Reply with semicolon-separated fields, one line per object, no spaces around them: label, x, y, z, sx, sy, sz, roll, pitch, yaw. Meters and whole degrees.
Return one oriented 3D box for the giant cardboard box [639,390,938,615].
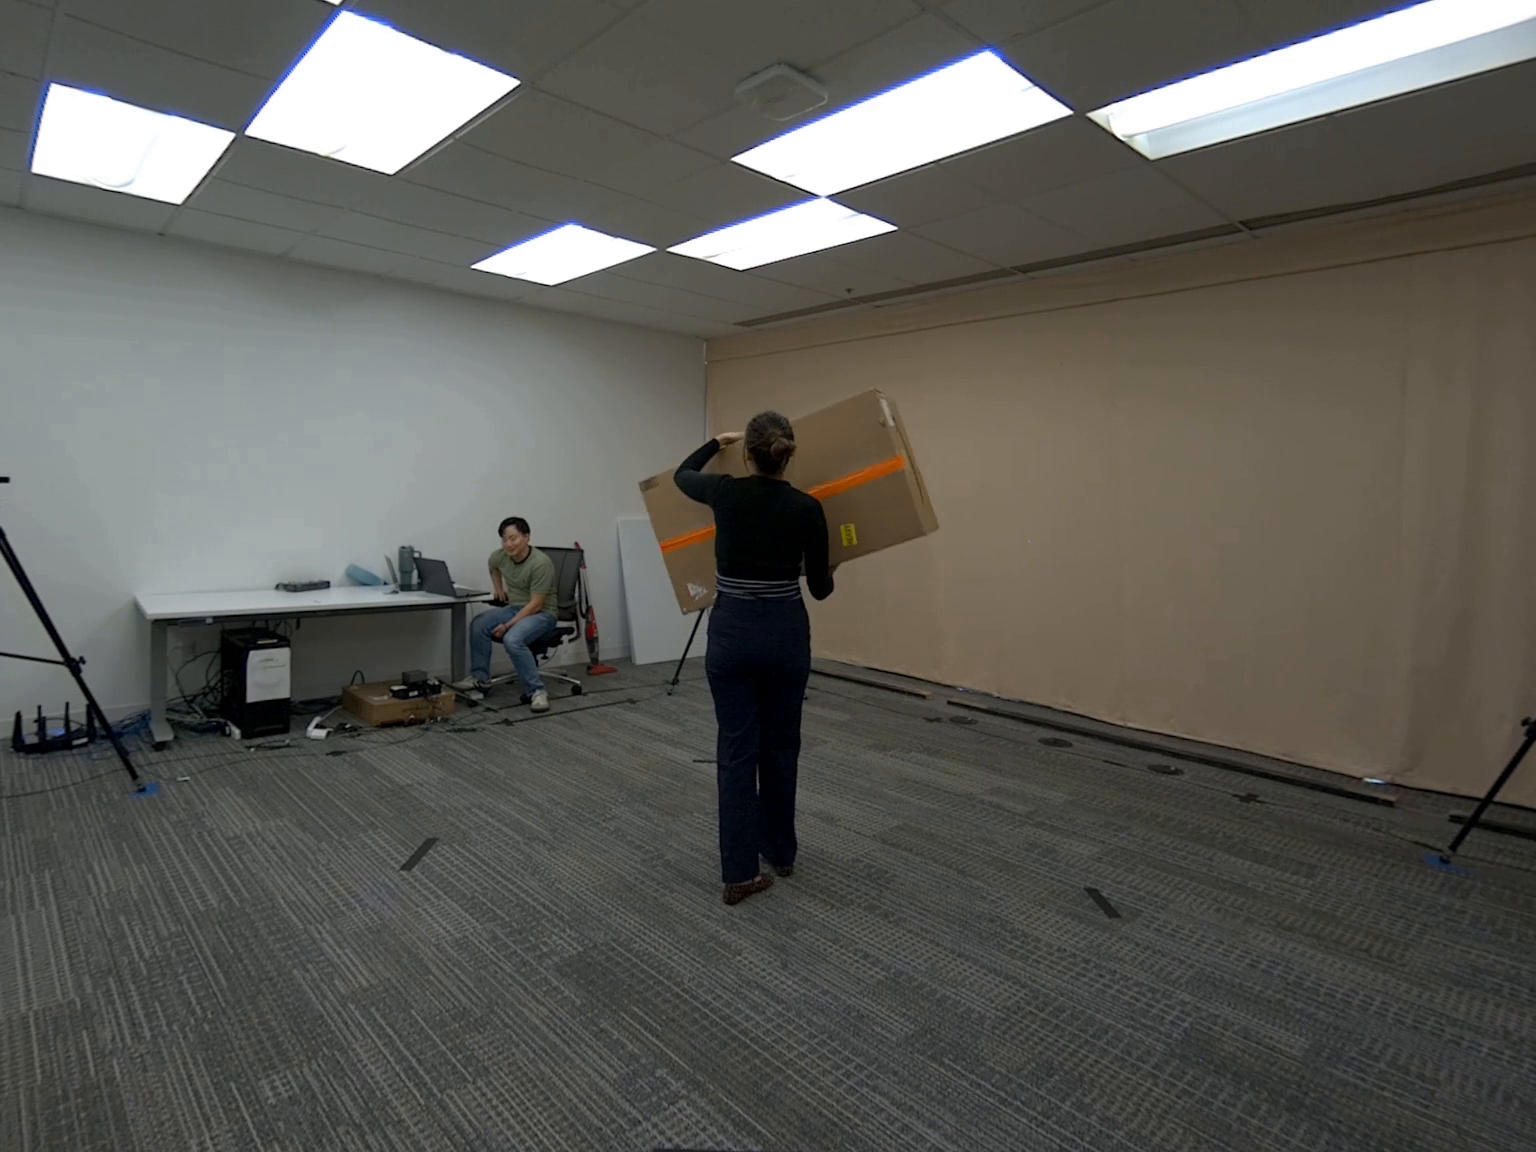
giant cardboard box;0.072;-0.283;3.416;1.036;0.578;0.421;-19;-1;20
